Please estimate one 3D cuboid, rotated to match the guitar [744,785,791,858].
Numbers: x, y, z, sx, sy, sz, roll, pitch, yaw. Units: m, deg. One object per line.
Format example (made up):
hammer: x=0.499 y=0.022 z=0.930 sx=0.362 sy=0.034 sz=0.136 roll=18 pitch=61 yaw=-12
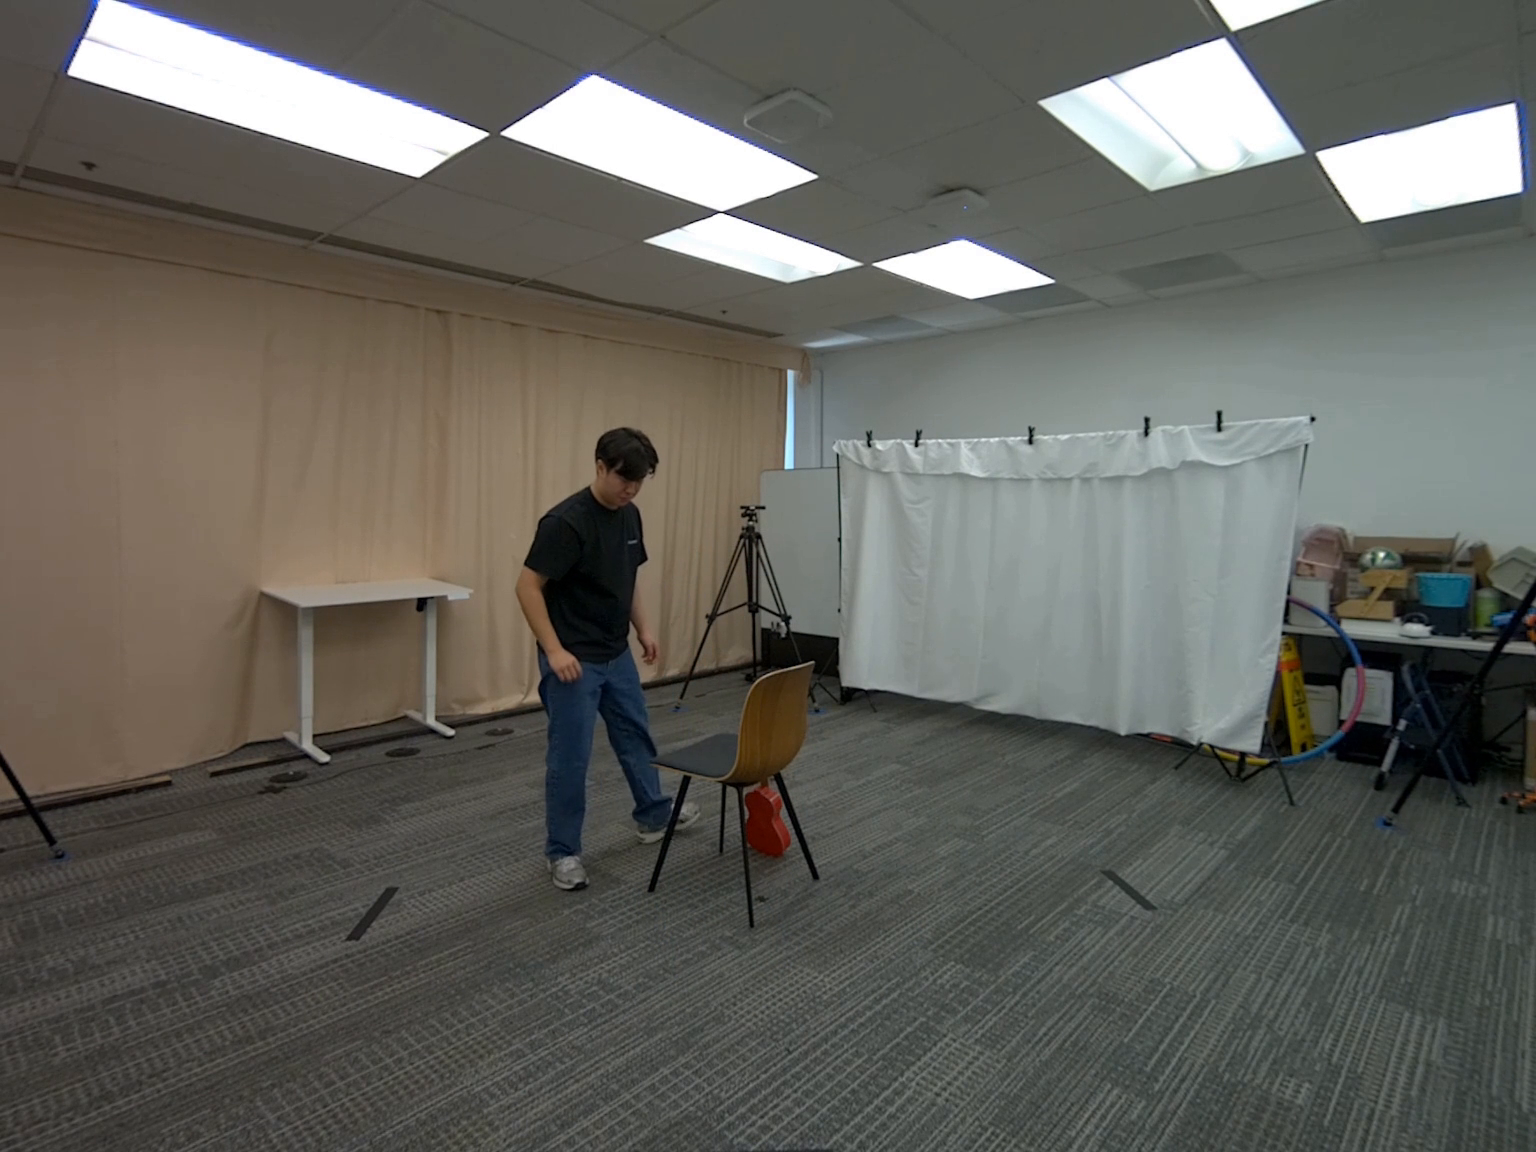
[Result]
guitar: x=-0.037 y=0.869 z=3.356 sx=0.199 sy=0.494 sz=0.069 roll=-5 pitch=10 yaw=40
